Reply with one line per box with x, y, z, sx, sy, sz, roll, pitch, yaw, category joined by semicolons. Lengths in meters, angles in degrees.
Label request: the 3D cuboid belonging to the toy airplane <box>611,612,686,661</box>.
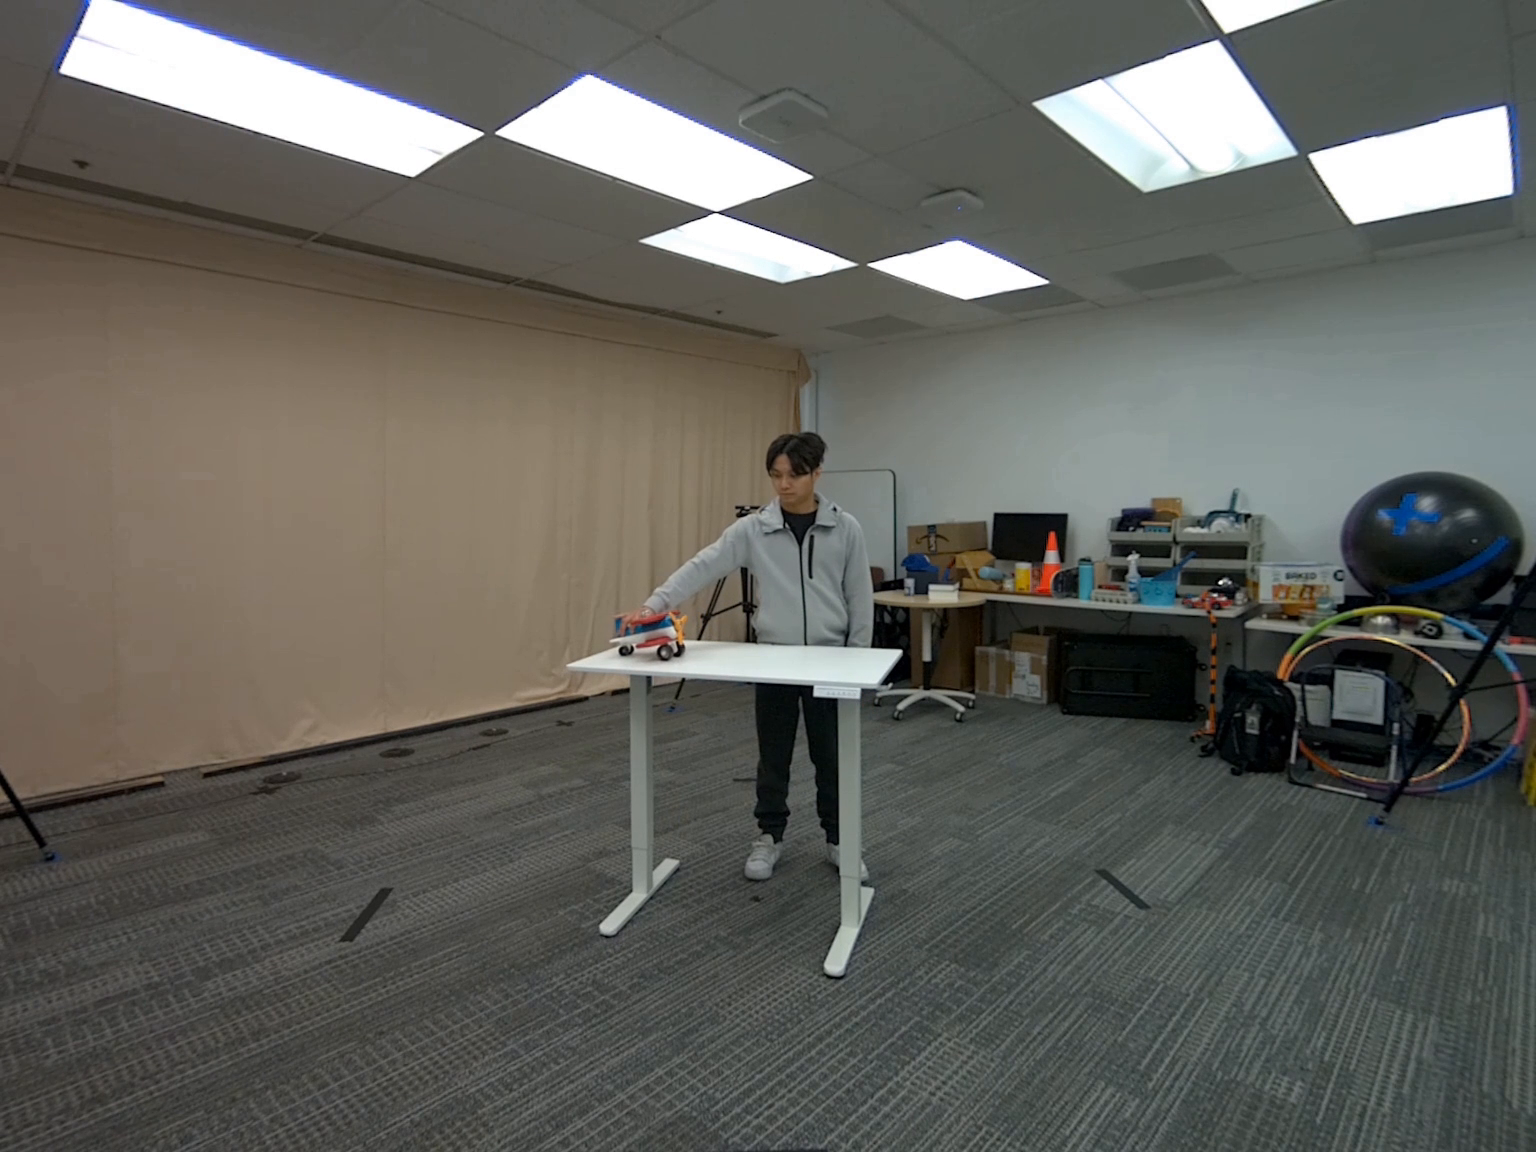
-0.407;0.202;2.841;0.258;0.156;0.253;0;3;-6;toy airplane
